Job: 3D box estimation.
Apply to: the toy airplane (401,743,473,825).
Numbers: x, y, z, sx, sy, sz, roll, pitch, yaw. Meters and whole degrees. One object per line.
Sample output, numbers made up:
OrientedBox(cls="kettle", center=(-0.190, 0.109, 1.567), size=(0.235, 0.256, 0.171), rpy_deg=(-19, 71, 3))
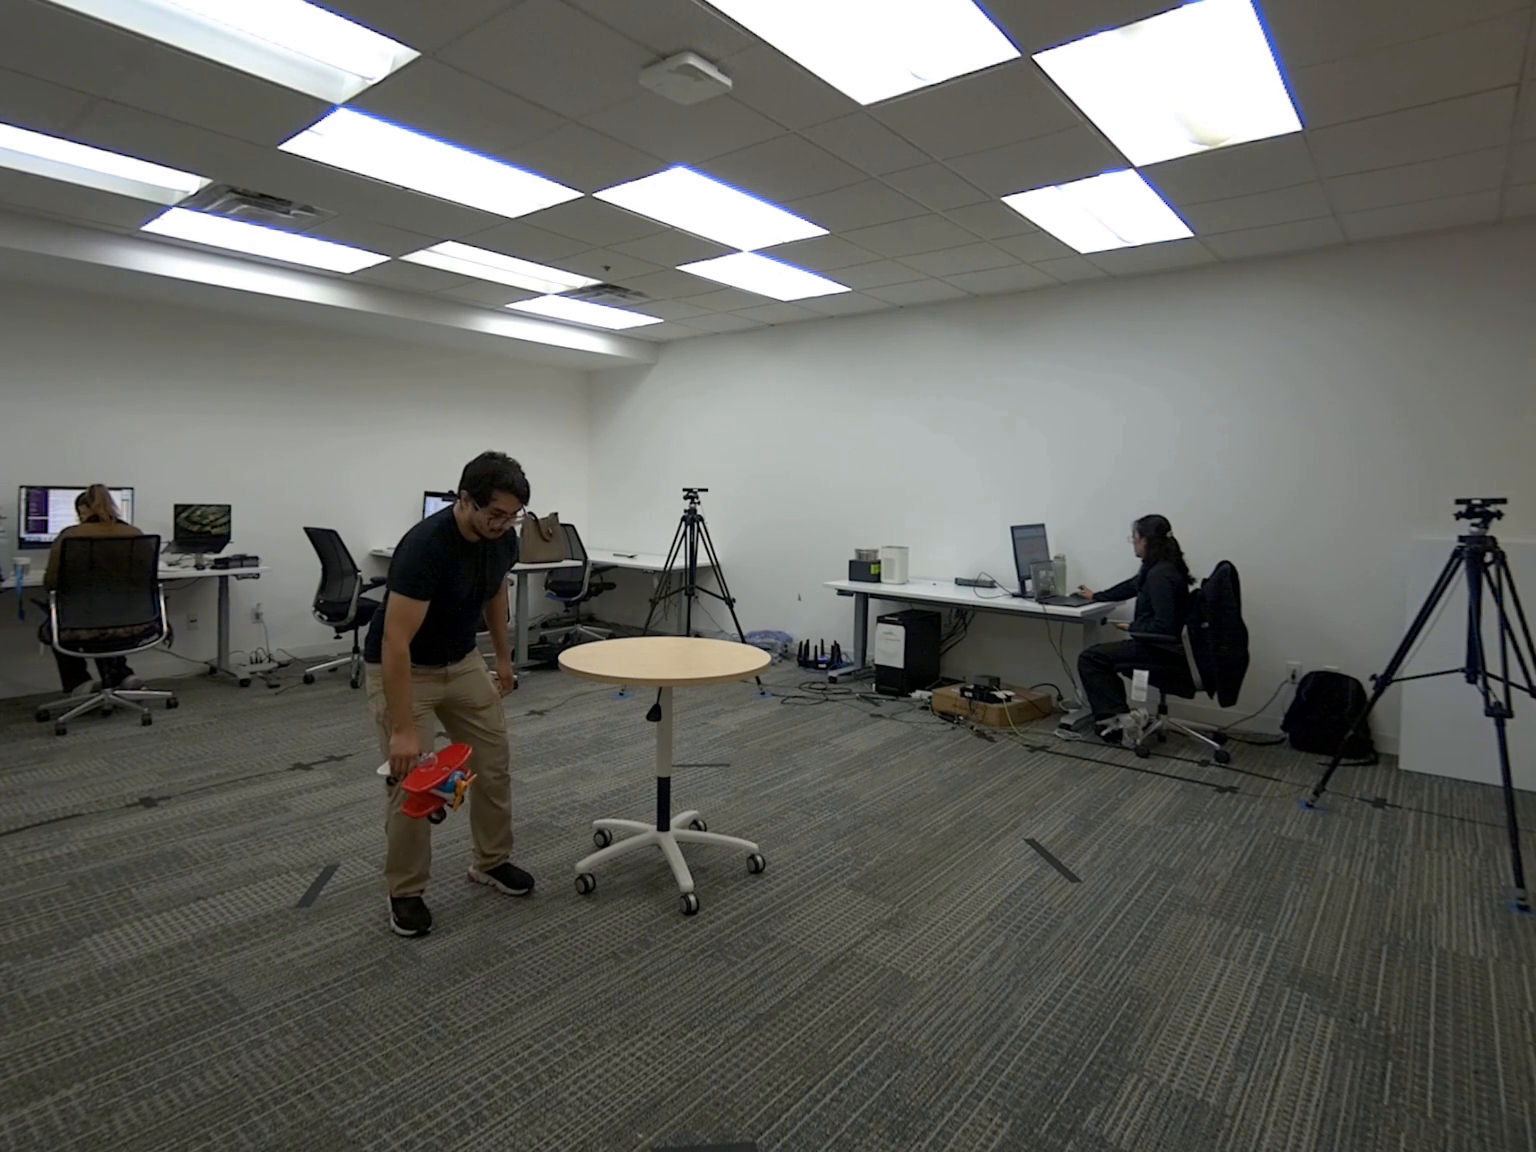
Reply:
OrientedBox(cls="toy airplane", center=(-0.997, 0.589, 2.422), size=(0.254, 0.155, 0.259), rpy_deg=(16, 23, -17))
